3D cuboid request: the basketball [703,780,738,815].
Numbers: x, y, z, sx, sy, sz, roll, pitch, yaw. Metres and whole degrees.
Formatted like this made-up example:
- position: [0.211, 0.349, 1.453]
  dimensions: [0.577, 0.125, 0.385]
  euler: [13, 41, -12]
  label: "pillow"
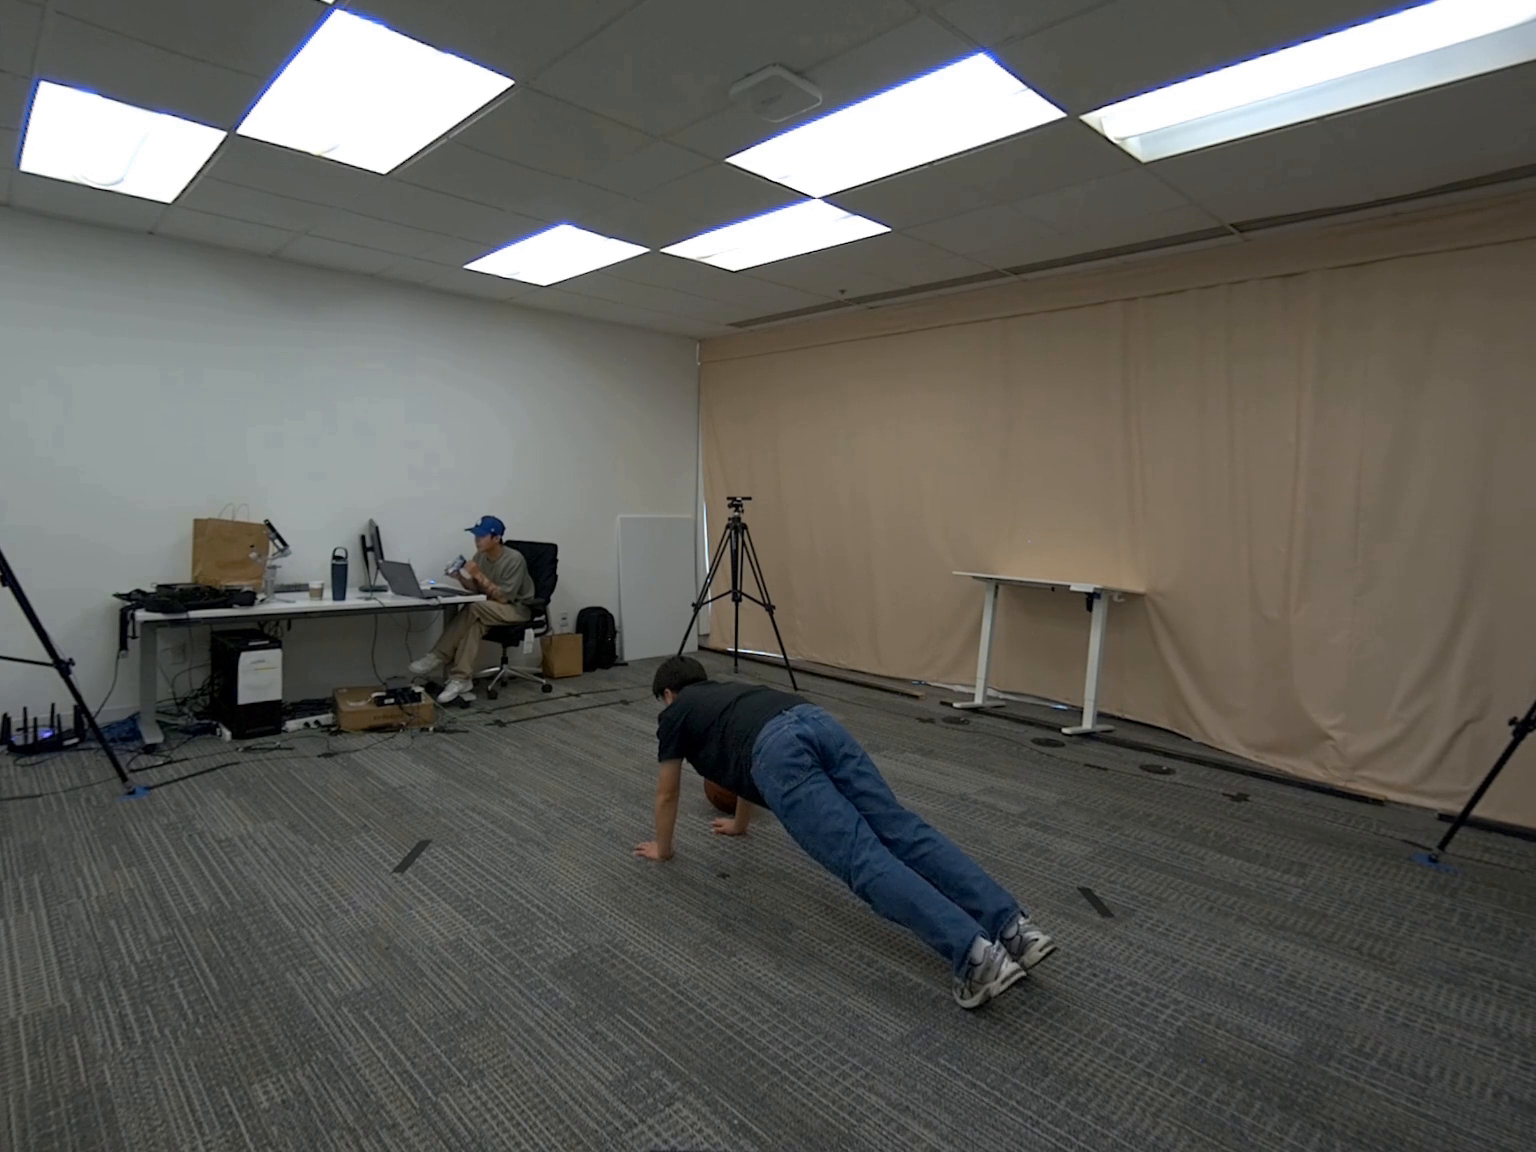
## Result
- position: [-0.167, 0.930, 3.768]
  dimensions: [0.236, 0.235, 0.237]
  euler: [1, 4, -1]
  label: "basketball"
